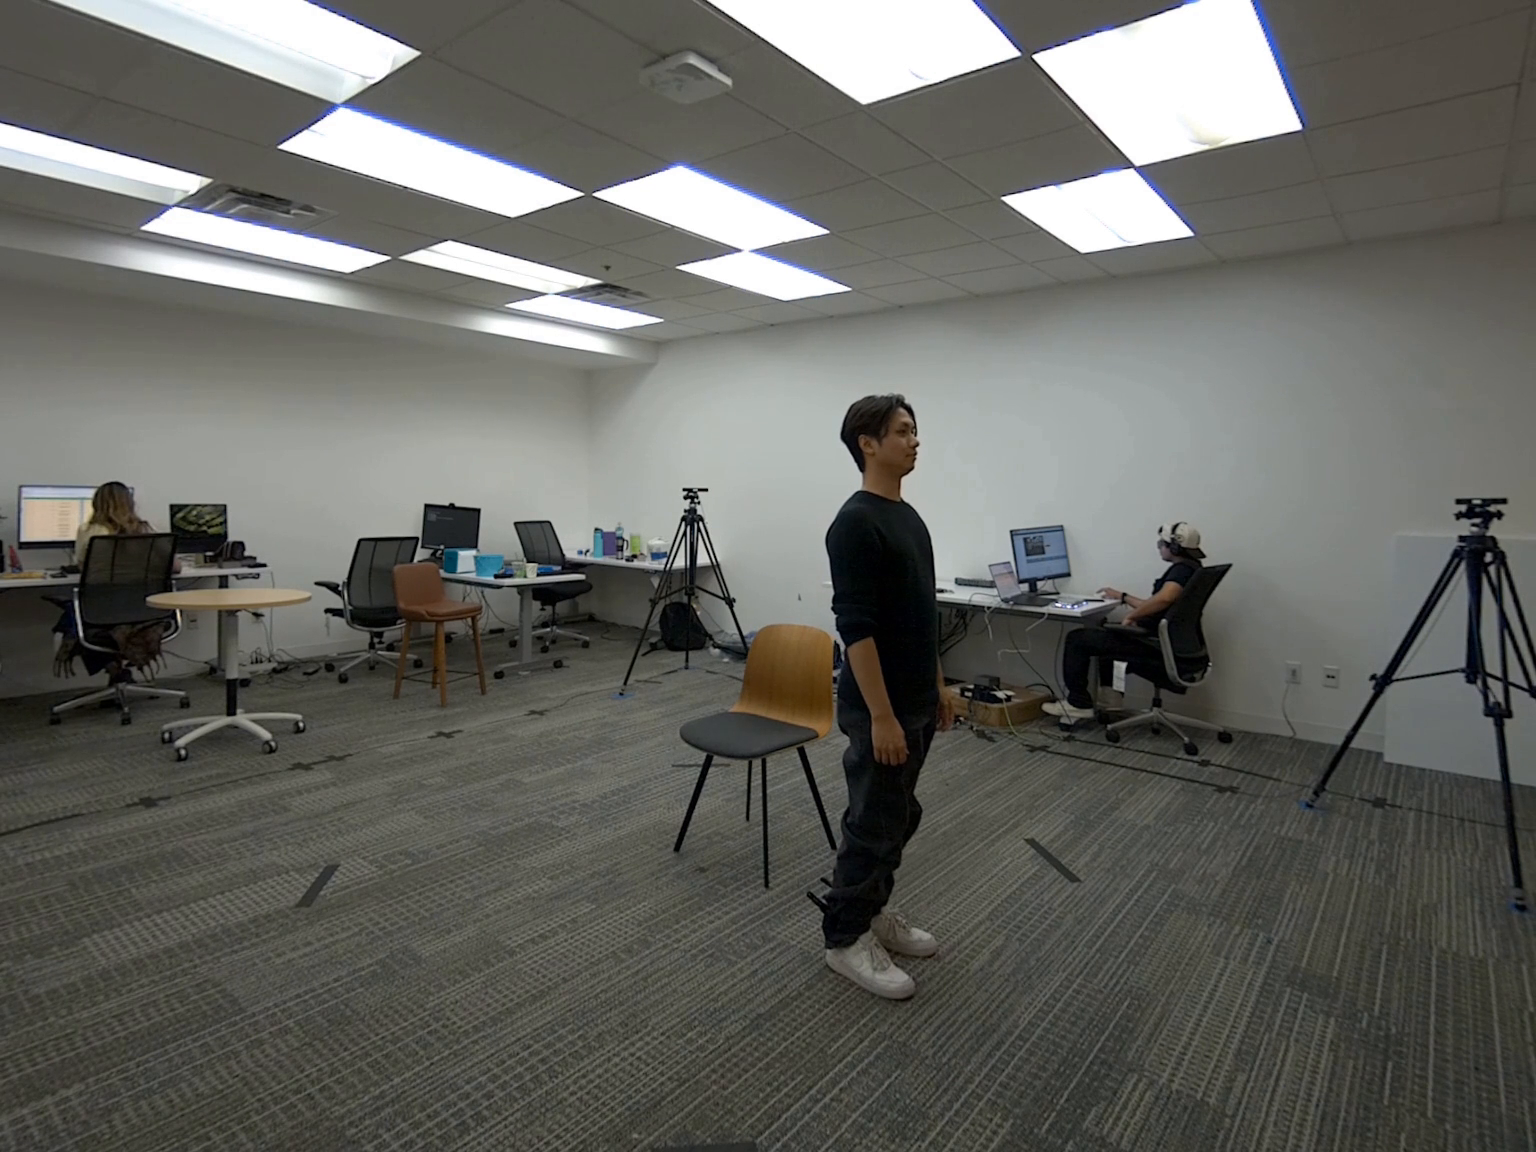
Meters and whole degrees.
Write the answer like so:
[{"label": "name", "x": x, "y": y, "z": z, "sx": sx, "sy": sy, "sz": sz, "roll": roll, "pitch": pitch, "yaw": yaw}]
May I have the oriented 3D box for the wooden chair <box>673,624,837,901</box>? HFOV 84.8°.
[{"label": "wooden chair", "x": -0.051, "y": 0.633, "z": 3.249, "sx": 0.494, "sy": 0.877, "sz": 0.506, "roll": 4, "pitch": 0, "yaw": 38}]
